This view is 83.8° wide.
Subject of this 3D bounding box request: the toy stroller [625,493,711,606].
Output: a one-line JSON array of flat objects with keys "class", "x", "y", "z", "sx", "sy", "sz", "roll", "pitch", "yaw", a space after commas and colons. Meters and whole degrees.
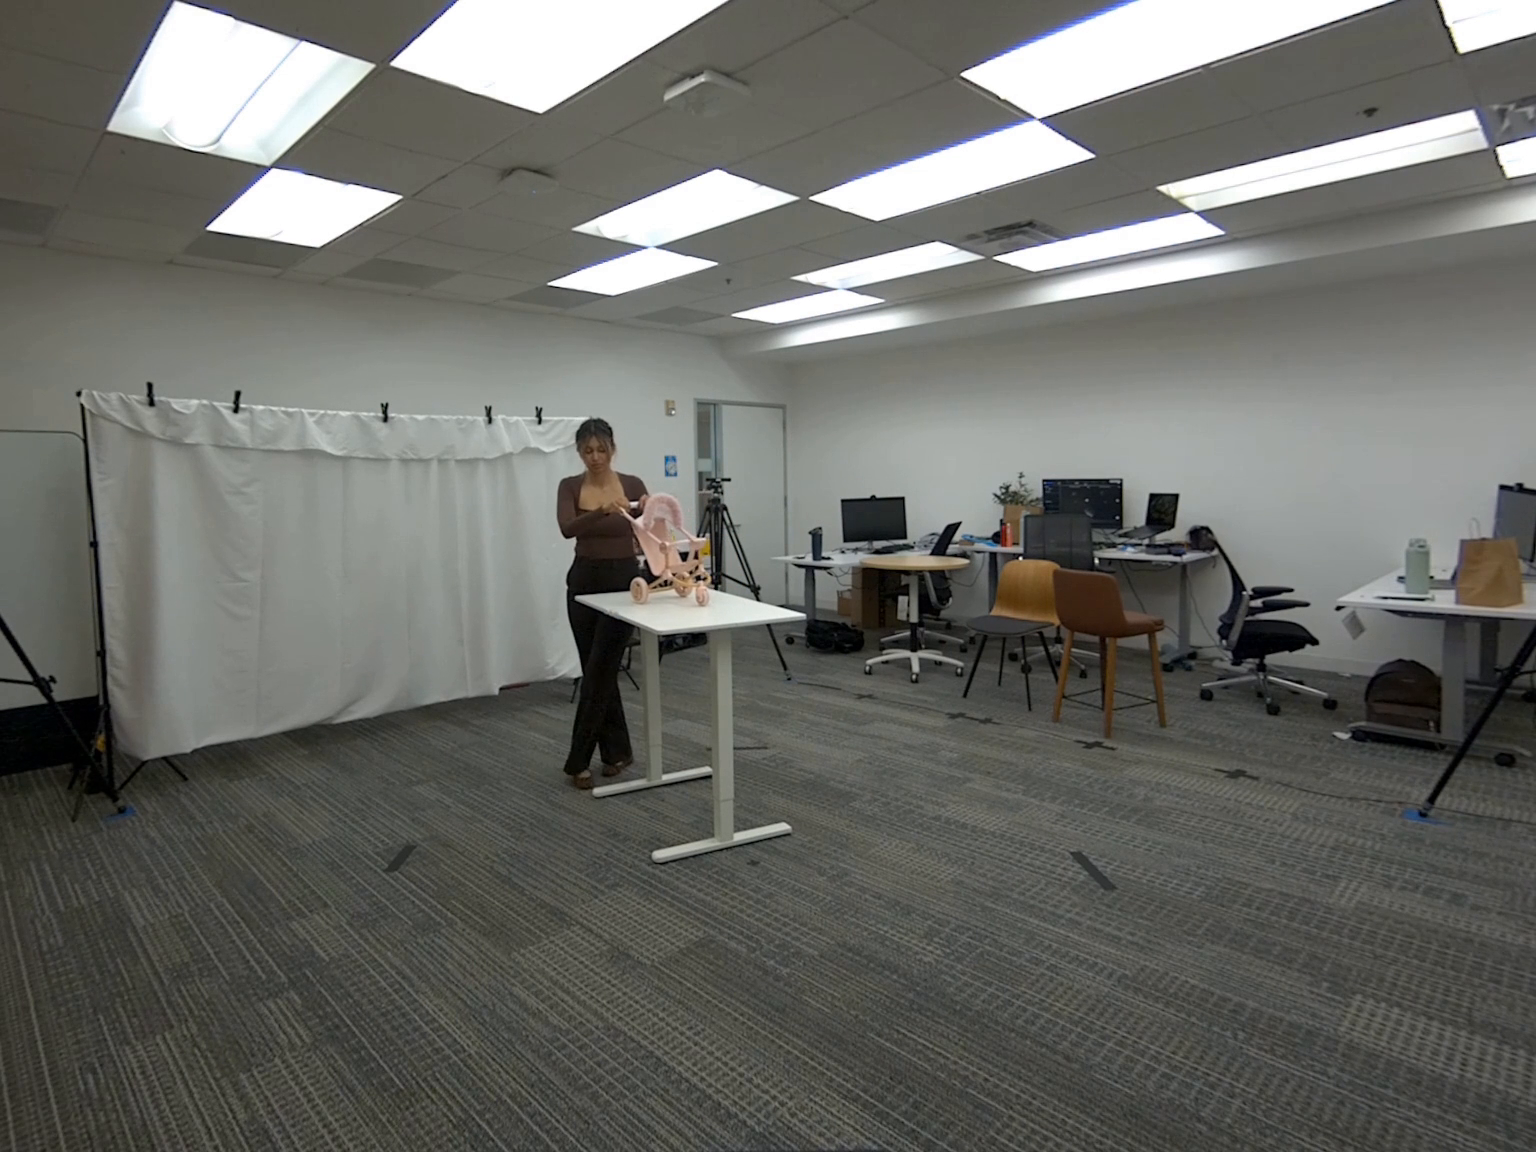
[{"class": "toy stroller", "x": -0.417, "y": -0.112, "z": 3.596, "sx": 0.274, "sy": 0.540, "sz": 0.347, "roll": -8, "pitch": -9, "yaw": -42}]
